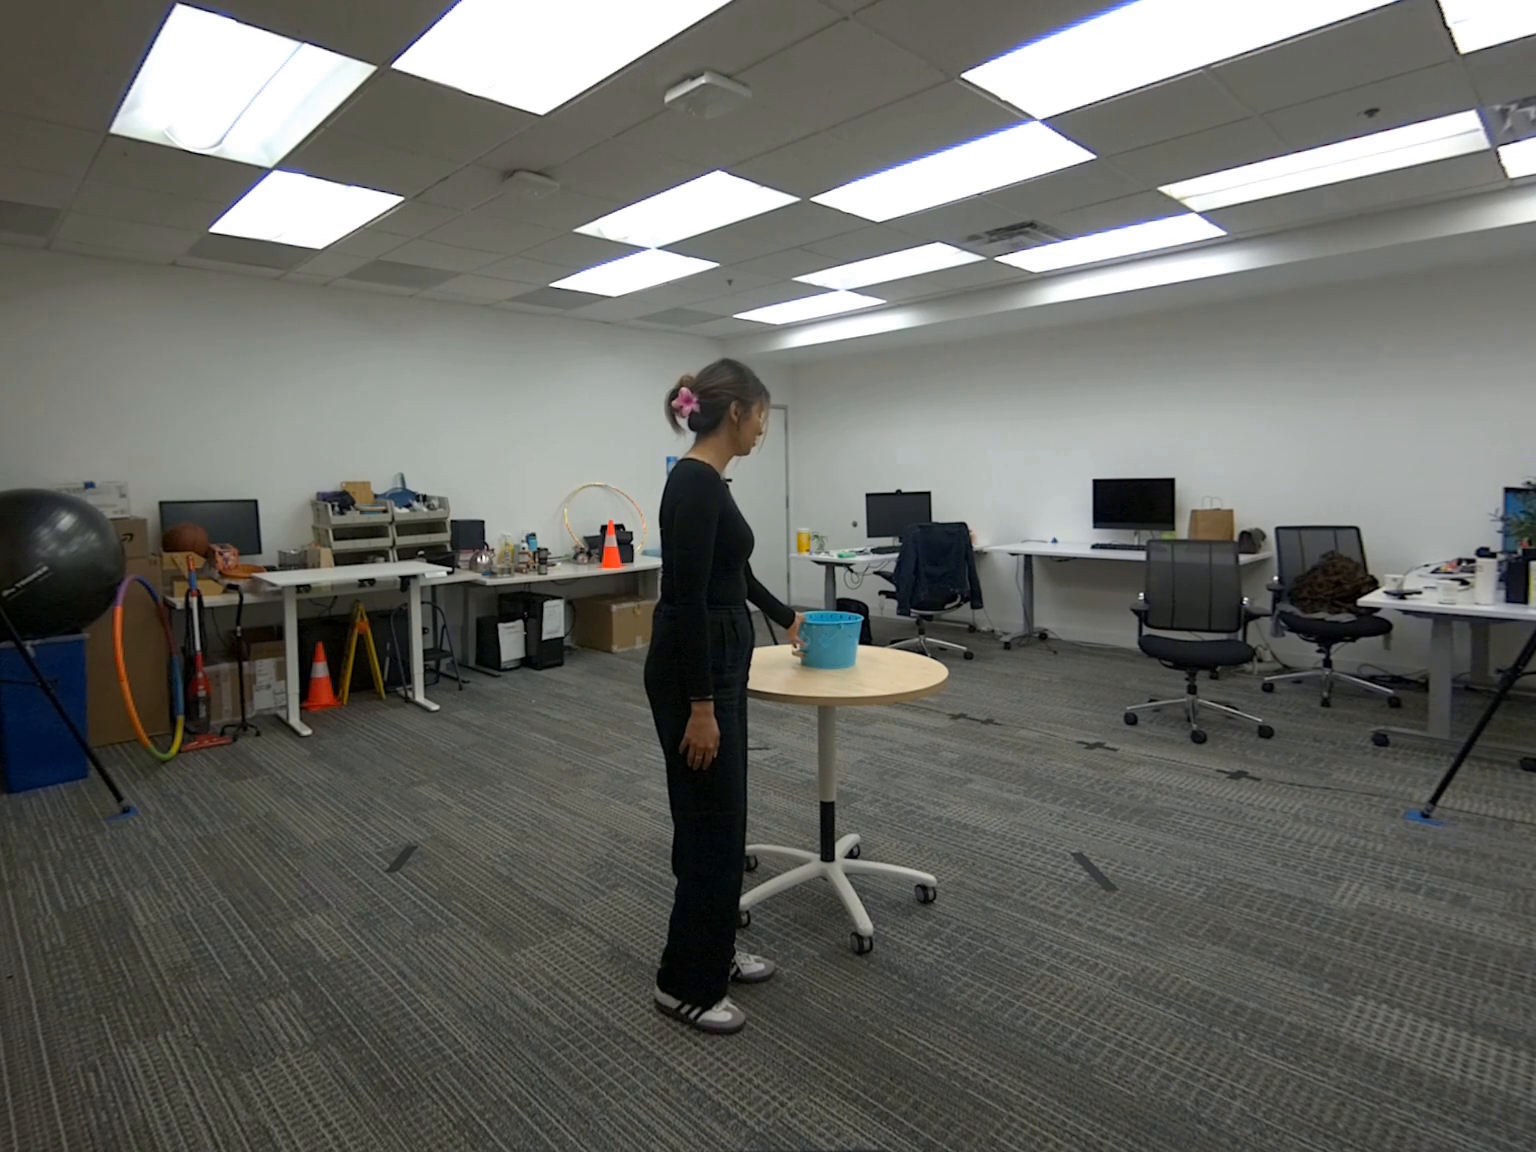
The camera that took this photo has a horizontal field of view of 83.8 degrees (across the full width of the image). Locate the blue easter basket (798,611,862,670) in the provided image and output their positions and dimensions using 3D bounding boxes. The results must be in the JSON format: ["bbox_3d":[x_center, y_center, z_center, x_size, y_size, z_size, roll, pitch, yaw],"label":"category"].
[{"bbox_3d":[0.199,0.217,2.830,0.243,0.155,0.245,0,6,-2],"label":"blue easter basket"}]
